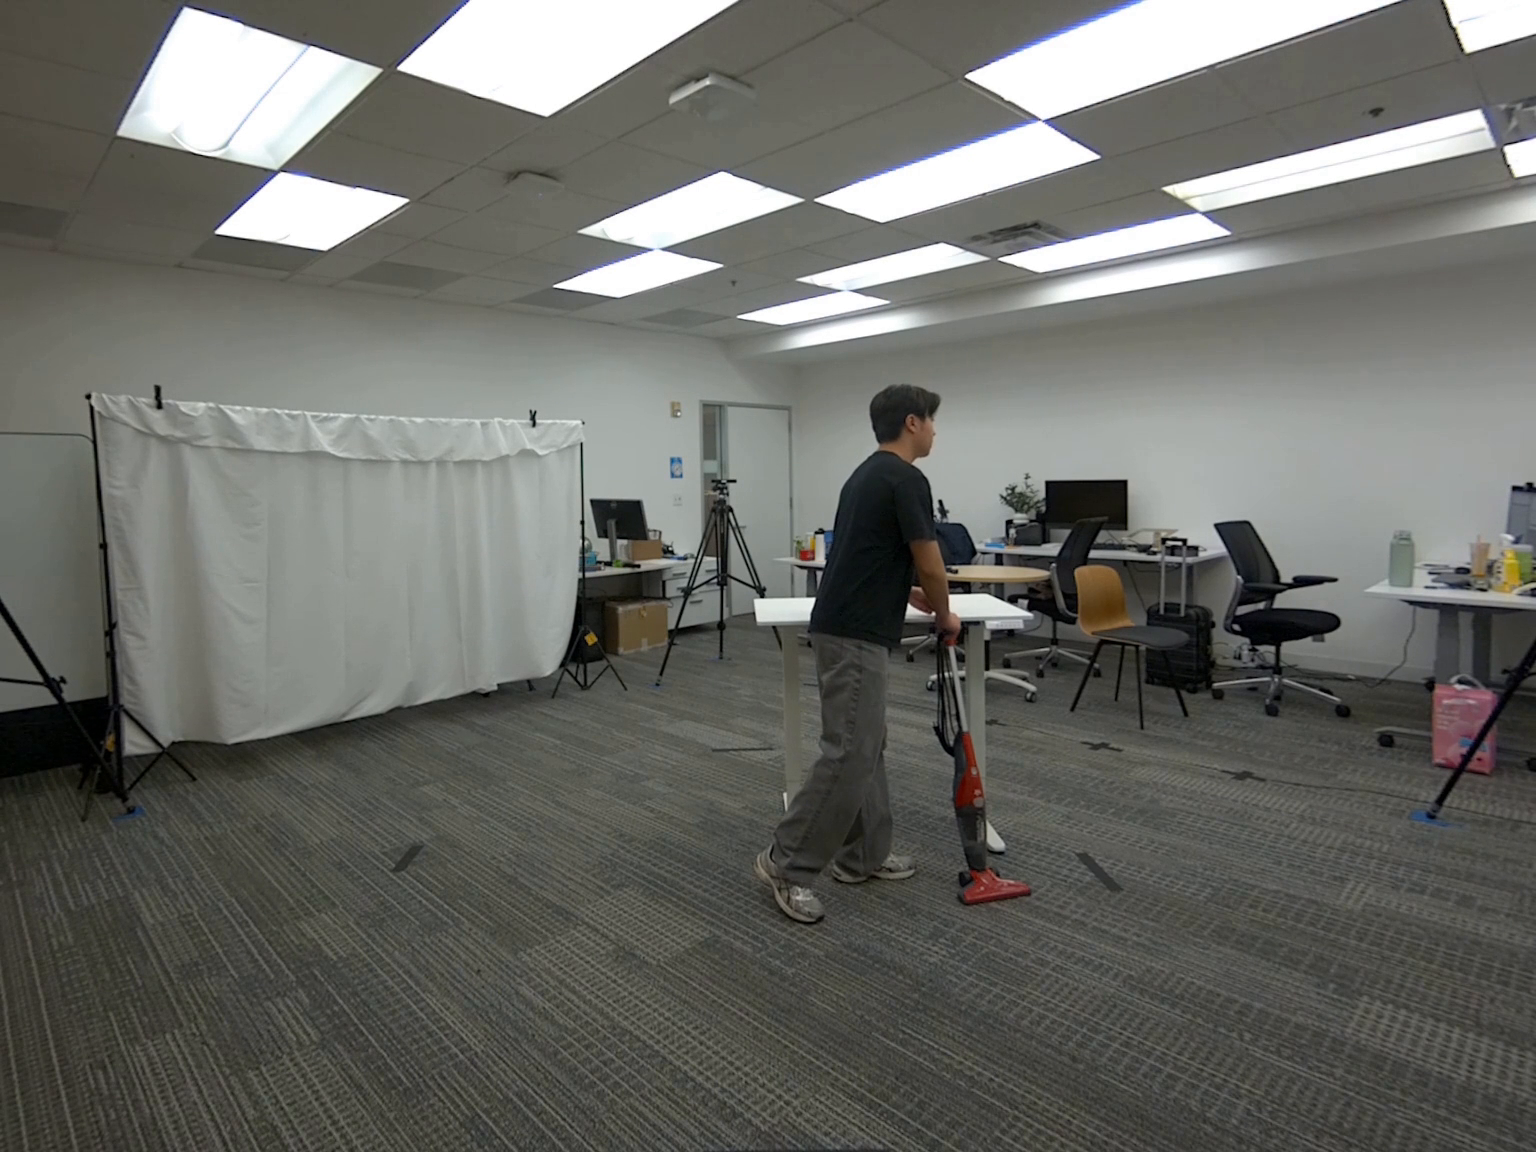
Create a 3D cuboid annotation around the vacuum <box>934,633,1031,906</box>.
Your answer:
[{"bbox_3d":[0.671,0.549,3.003,0.248,1.065,0.144,-2,-16,-21],"label":"vacuum"}]
